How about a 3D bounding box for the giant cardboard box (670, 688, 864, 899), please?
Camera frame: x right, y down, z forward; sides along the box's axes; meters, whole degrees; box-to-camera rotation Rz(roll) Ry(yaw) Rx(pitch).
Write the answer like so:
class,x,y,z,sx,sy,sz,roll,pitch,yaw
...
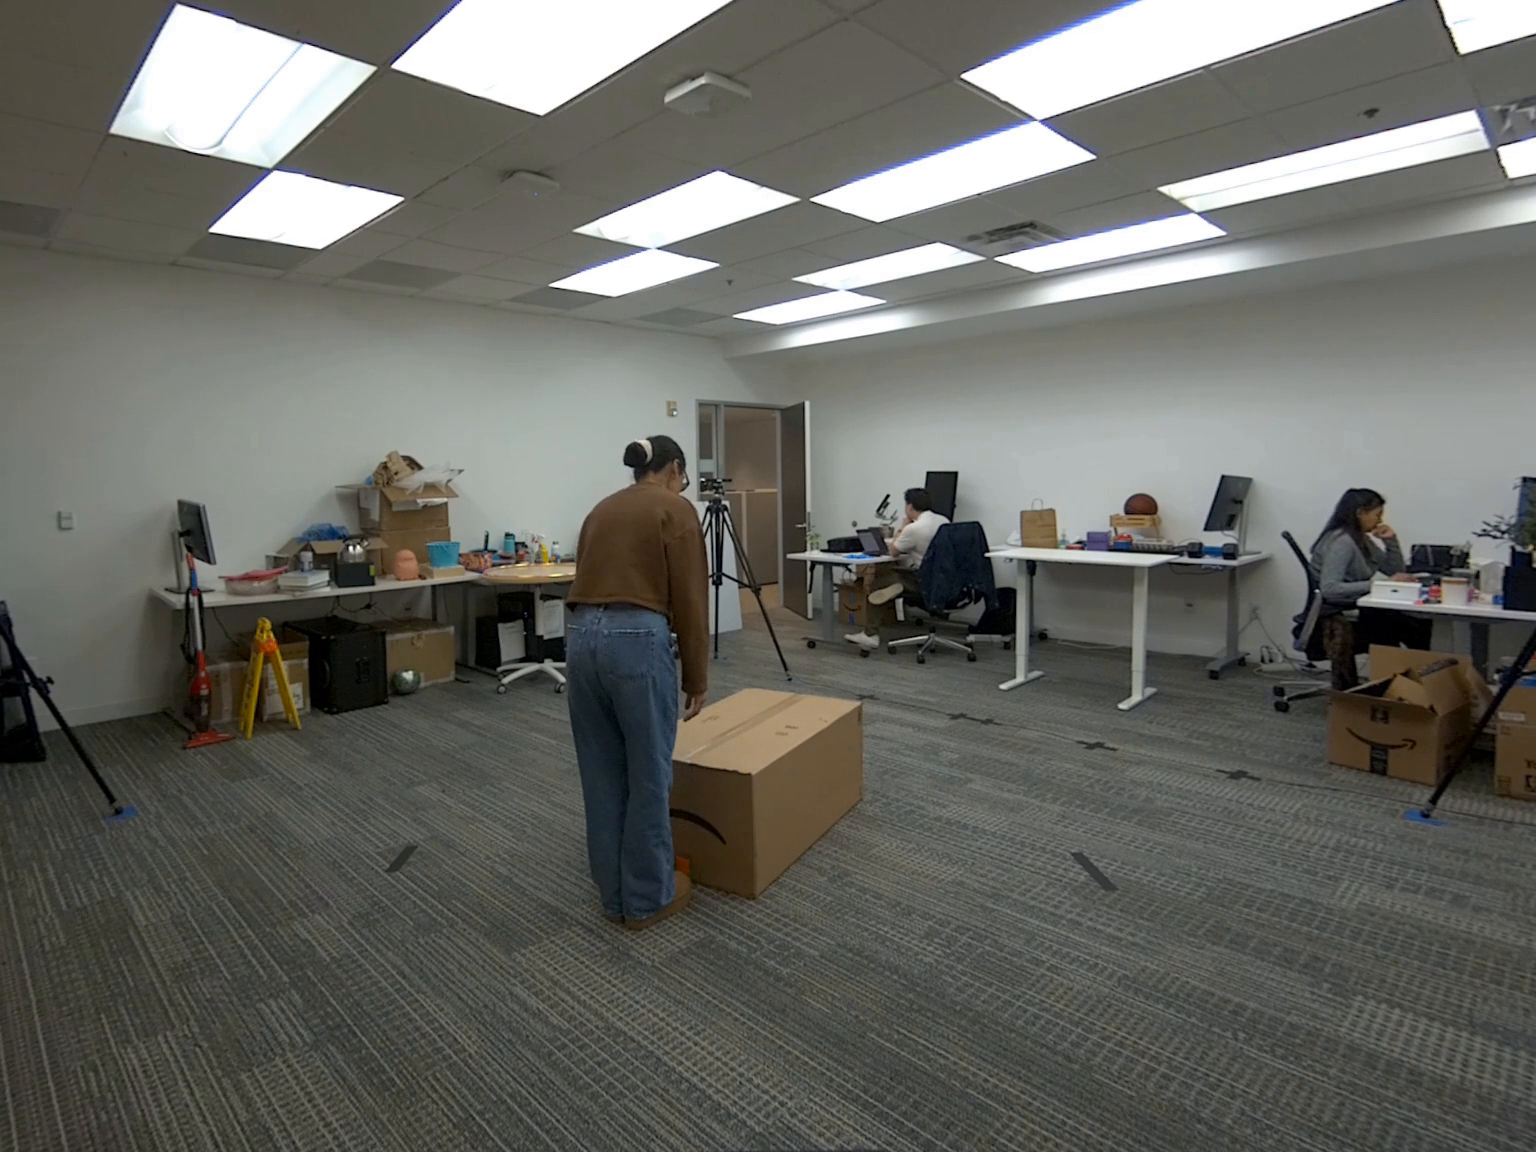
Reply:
class,x,y,z,sx,sy,sz,roll,pitch,yaw
giant cardboard box,-0.070,0.796,3.410,0.598,0.445,1.005,1,6,28
